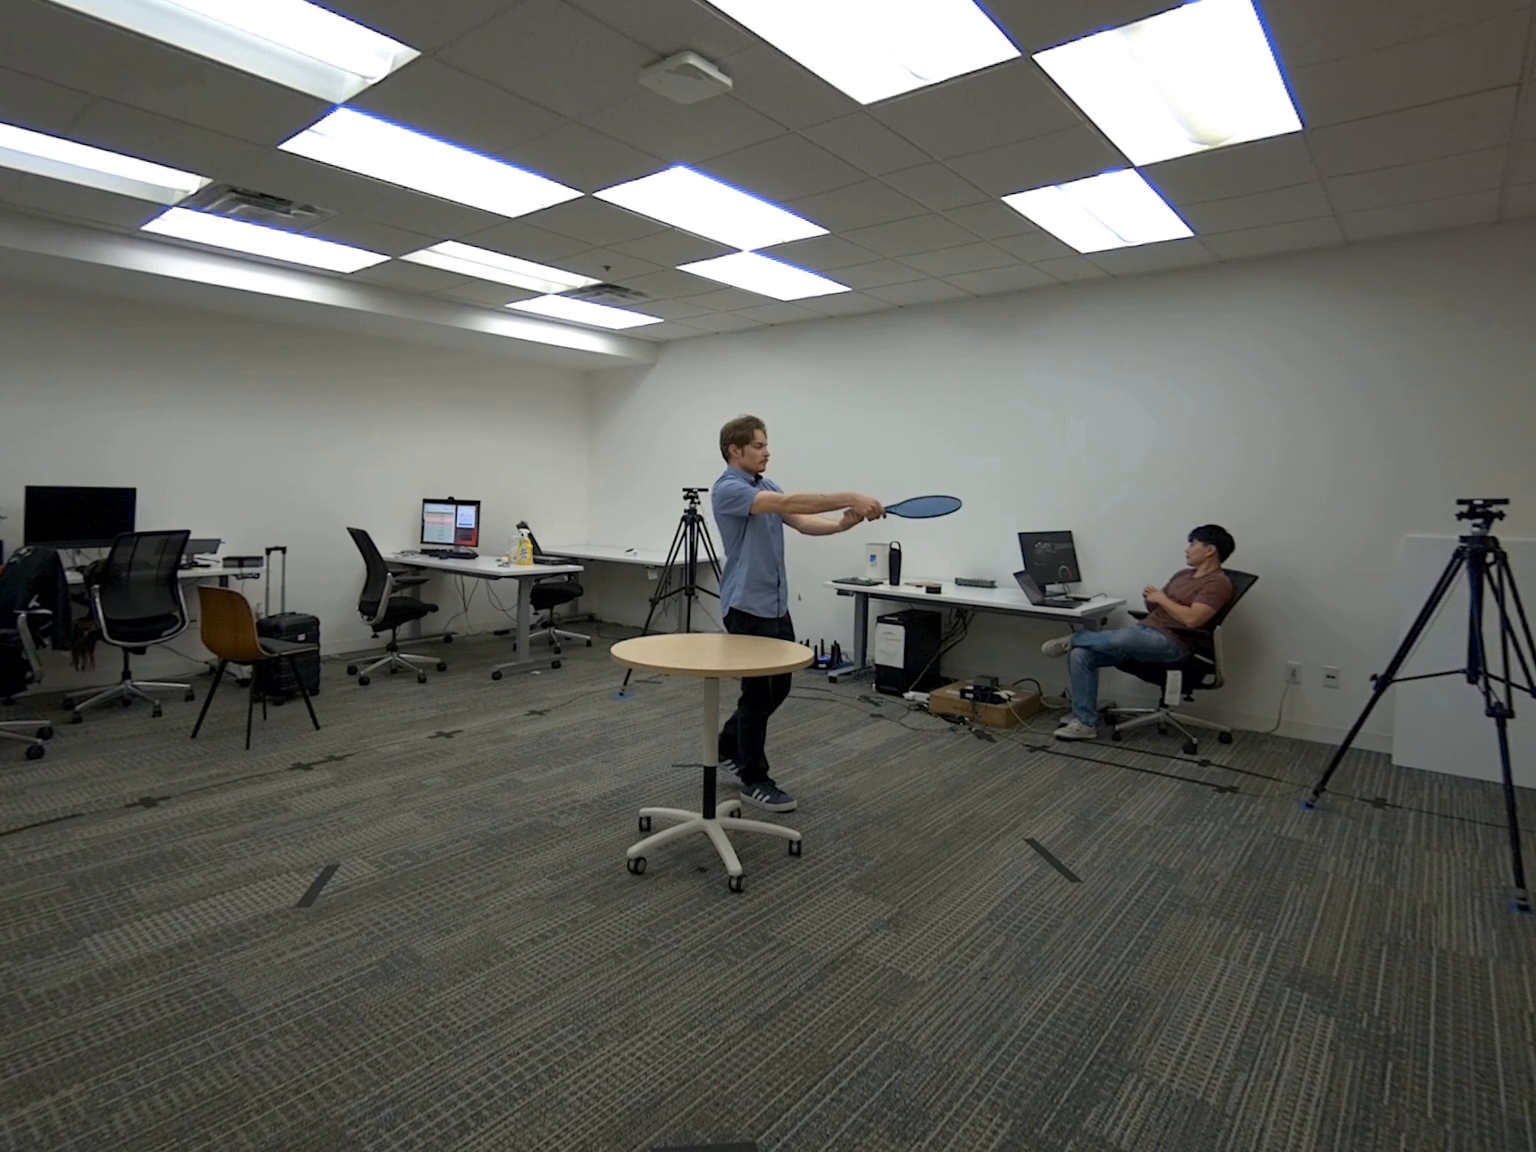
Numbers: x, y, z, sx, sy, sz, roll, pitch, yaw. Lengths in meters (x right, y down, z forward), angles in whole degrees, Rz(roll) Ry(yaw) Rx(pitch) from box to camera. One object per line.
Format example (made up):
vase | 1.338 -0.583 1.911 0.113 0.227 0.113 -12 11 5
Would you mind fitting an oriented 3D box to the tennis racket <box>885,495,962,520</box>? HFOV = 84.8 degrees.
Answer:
tennis racket | 0.547 -0.269 3.411 0.441 0.031 0.215 -4 27 20
